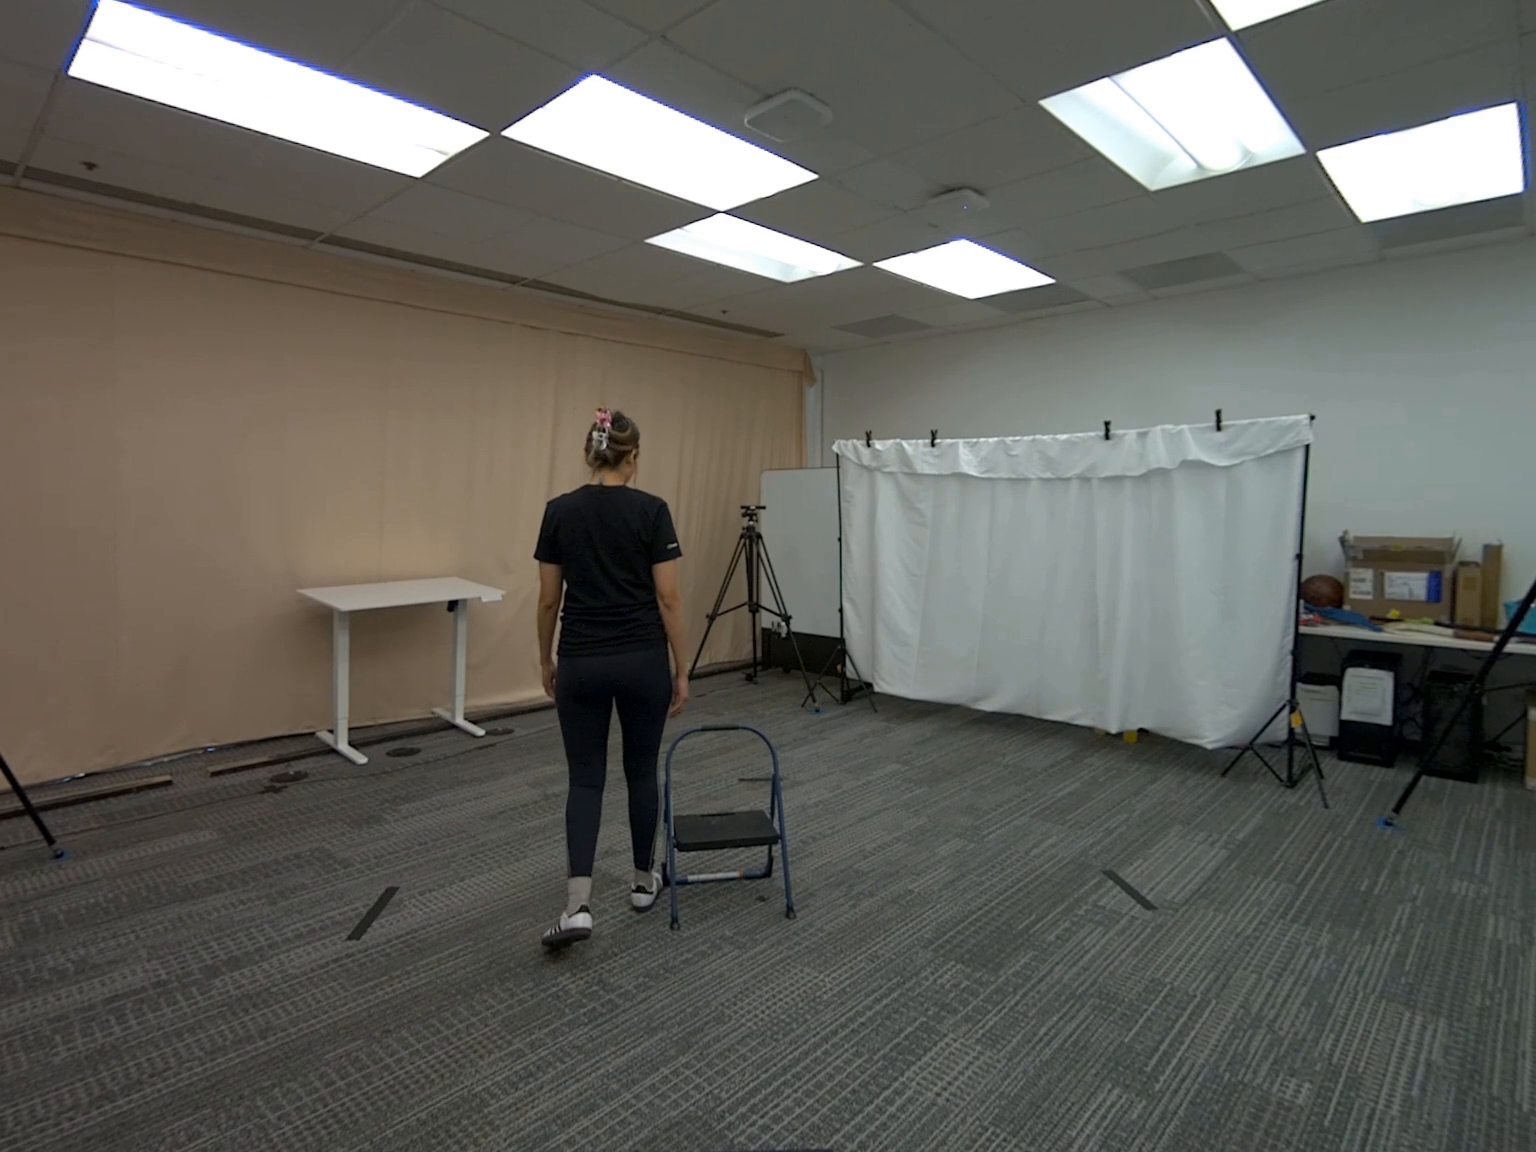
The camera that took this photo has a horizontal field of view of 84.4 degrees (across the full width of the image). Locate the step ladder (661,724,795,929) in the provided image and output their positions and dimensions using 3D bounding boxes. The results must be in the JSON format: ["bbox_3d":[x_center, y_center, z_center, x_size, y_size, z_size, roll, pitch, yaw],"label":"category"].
[{"bbox_3d":[-0.149,0.846,2.960,0.425,0.604,0.354,-1,4,-12],"label":"step ladder"}]
